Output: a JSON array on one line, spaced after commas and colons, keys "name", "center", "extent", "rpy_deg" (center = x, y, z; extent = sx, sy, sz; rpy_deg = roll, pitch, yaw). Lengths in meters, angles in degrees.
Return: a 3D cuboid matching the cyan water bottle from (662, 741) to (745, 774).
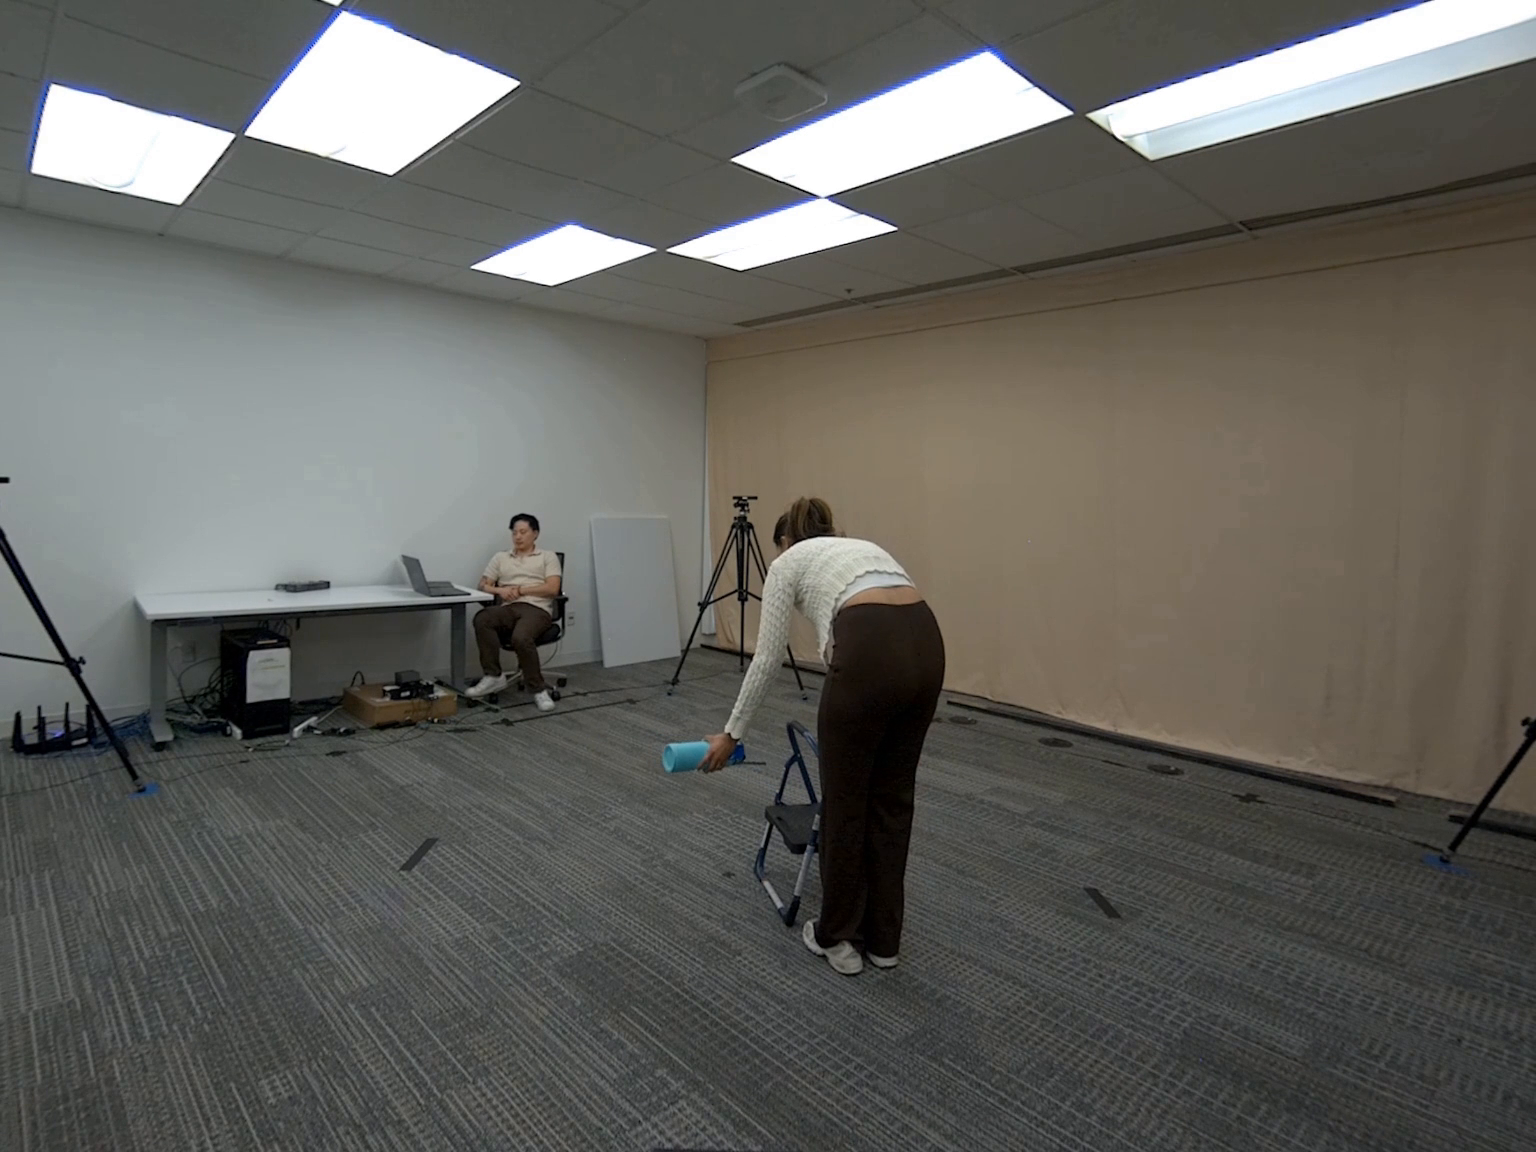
[{"name": "cyan water bottle", "center": [-0.210, 0.584, 2.724], "extent": [0.278, 0.092, 0.094], "rpy_deg": [3, 3, -27]}]
